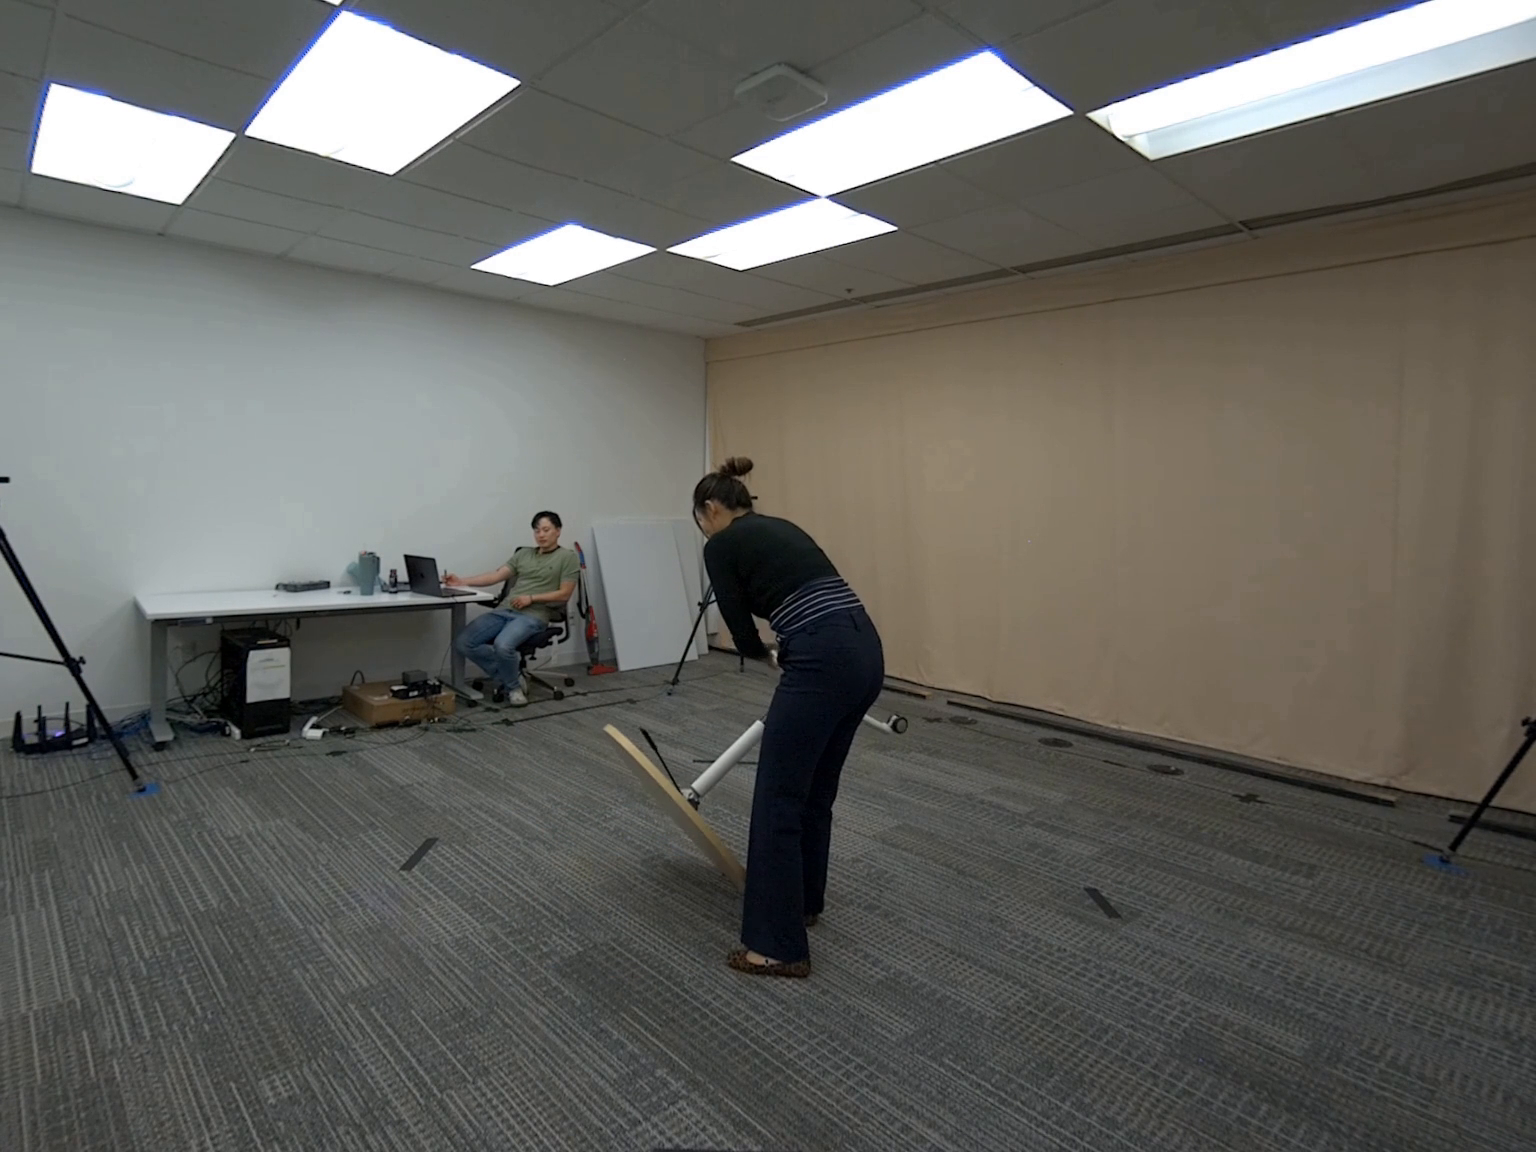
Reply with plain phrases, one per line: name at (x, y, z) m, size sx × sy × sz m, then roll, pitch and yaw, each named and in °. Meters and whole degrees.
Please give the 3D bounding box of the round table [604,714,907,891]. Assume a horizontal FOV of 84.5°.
round table at (-0.044, 0.565, 3.032) m, size 0.792 × 0.749 × 0.780 m, roll -41°, pitch 21°, yaw -18°
